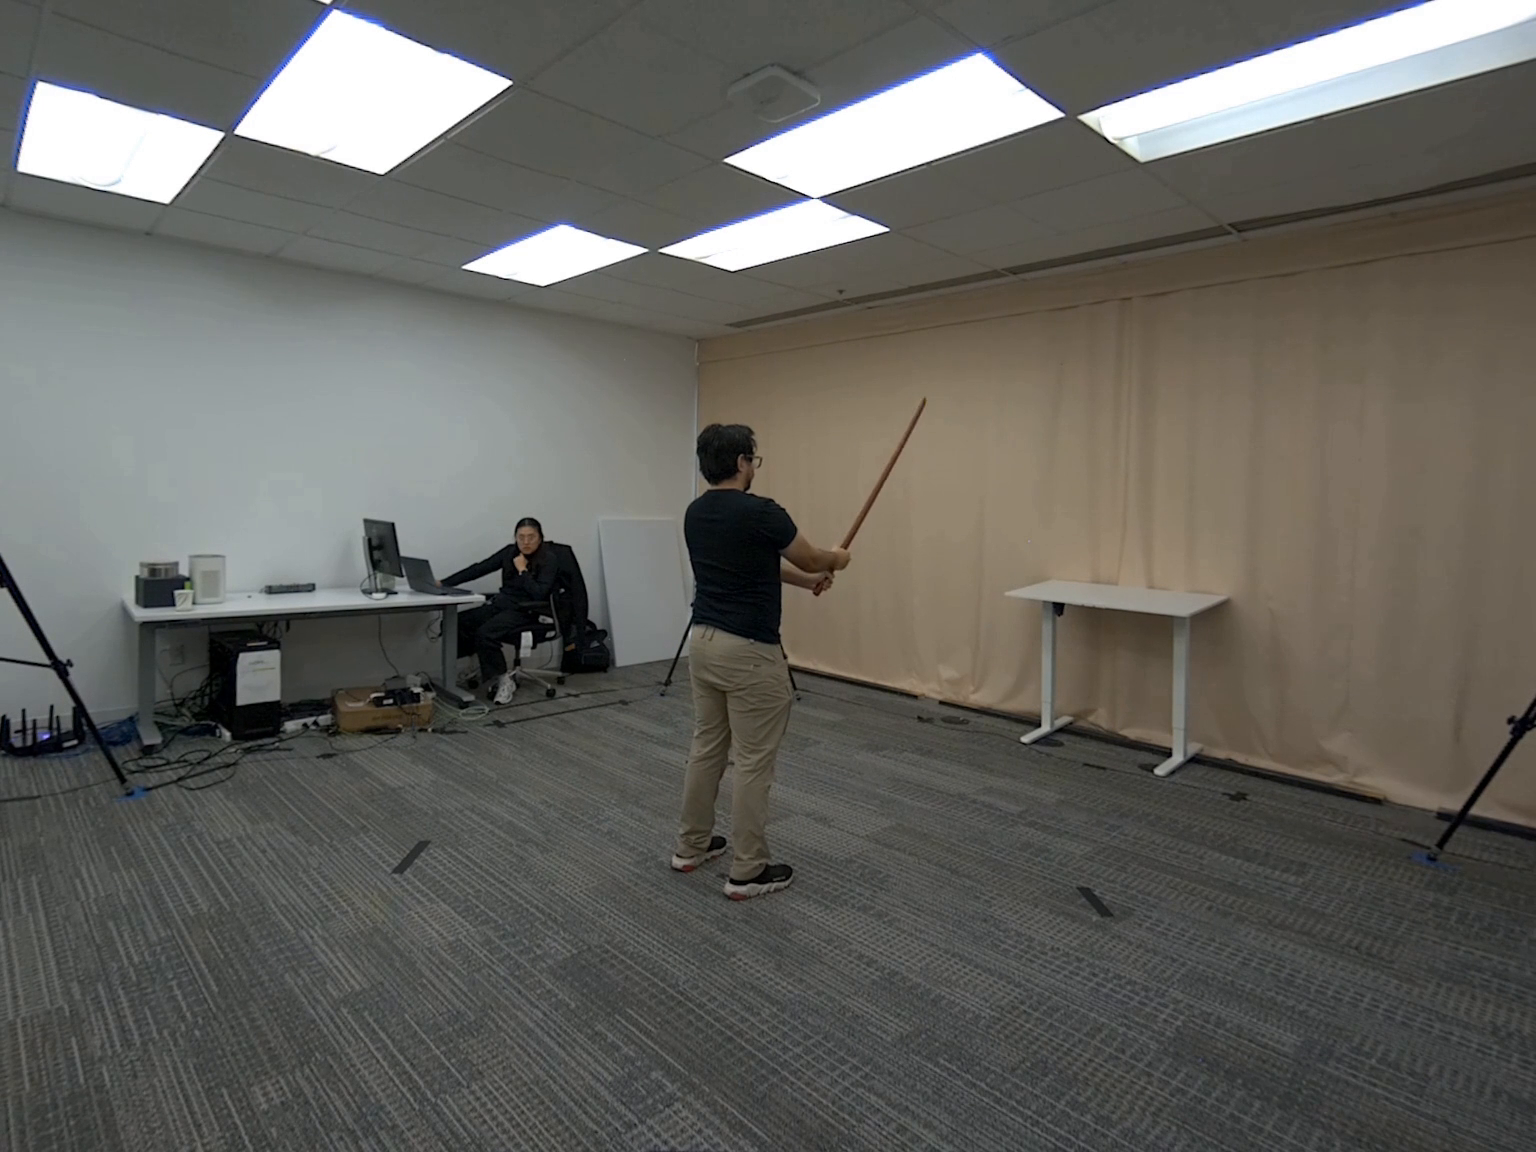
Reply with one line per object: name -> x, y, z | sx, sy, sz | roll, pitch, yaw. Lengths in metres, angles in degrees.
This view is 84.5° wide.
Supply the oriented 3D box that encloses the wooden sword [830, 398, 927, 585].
wooden sword -> 0.448, -0.358, 3.474 | 0.025, 1.028, 0.050 | 12, -27, 45
